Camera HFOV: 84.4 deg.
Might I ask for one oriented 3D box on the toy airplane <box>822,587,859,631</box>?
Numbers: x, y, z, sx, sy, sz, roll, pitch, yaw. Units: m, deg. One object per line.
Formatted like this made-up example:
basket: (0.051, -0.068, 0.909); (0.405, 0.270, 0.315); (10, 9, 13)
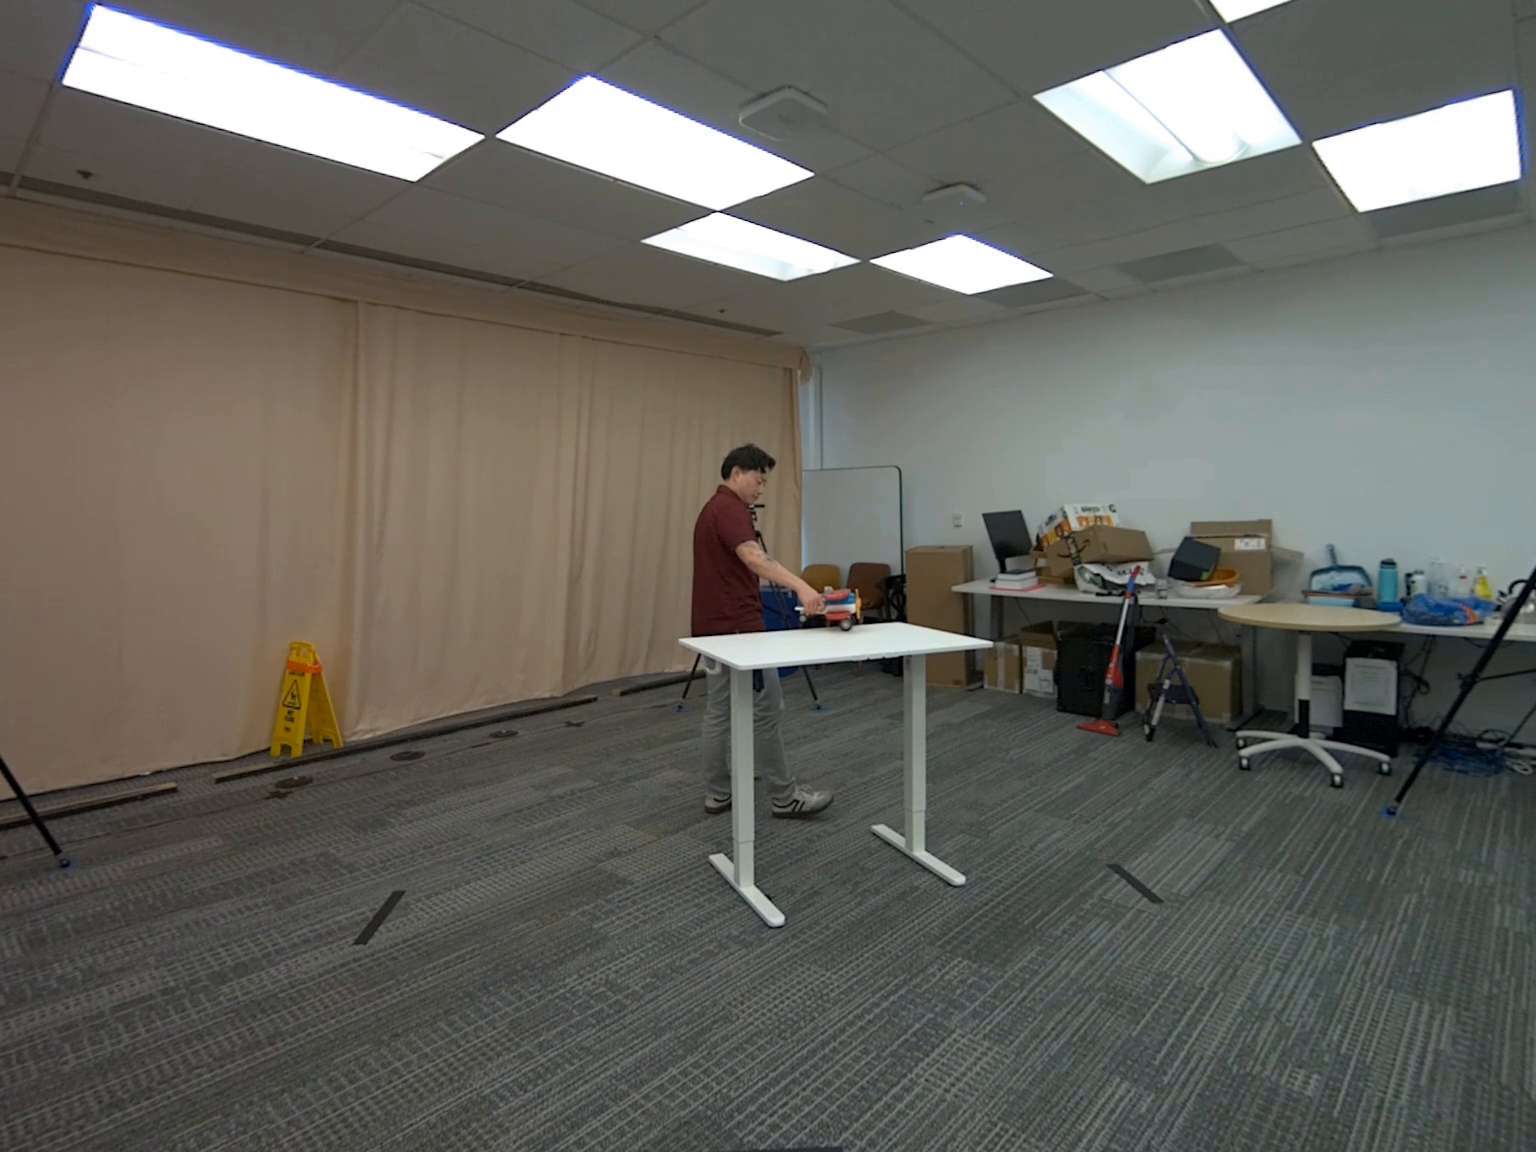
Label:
toy airplane: (0.253, 0.131, 3.396); (0.254, 0.156, 0.256); (6, 6, -17)
